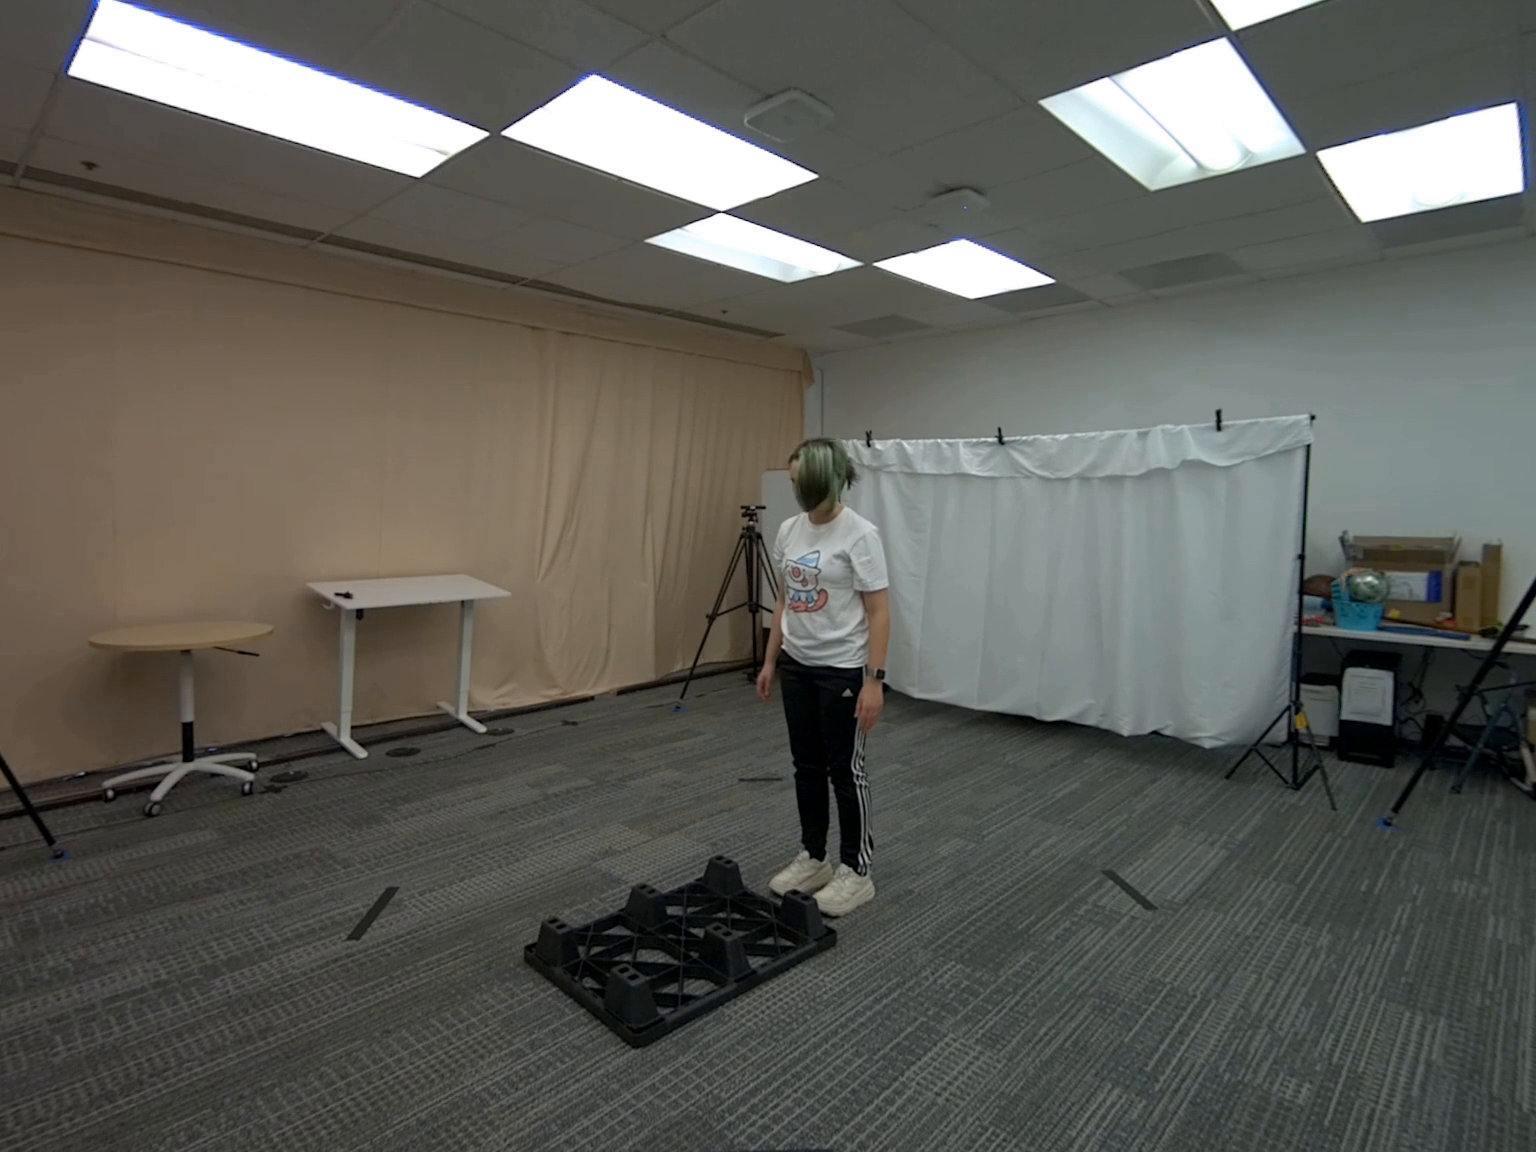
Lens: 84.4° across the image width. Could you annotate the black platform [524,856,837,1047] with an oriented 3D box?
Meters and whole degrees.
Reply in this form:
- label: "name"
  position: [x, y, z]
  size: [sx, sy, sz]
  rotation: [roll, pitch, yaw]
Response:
- label: "black platform"
  position: [-0.263, 1.108, 2.638]
  size: [0.781, 0.143, 0.625]
  rotation: [-5, 7, -44]
